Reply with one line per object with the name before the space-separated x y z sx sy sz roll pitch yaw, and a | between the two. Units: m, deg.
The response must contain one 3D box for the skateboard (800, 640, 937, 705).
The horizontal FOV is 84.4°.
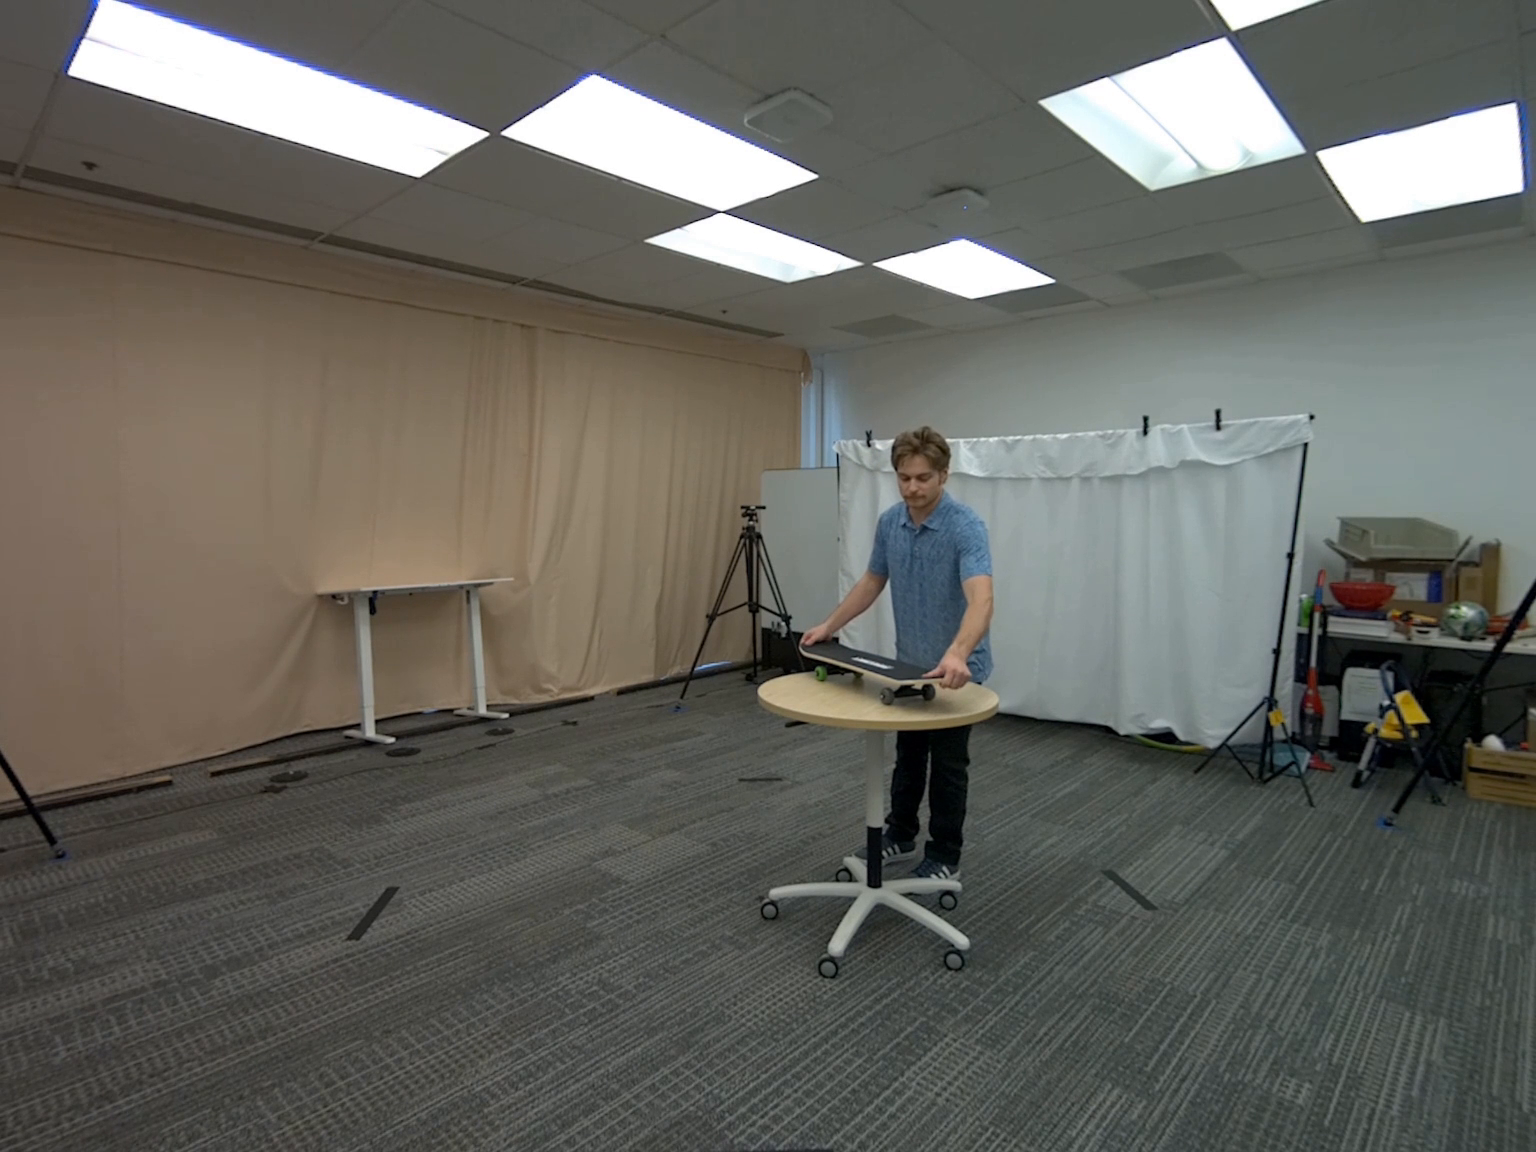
skateboard | 0.350 0.322 2.766 0.189 0.110 0.807 -1 5 -27
